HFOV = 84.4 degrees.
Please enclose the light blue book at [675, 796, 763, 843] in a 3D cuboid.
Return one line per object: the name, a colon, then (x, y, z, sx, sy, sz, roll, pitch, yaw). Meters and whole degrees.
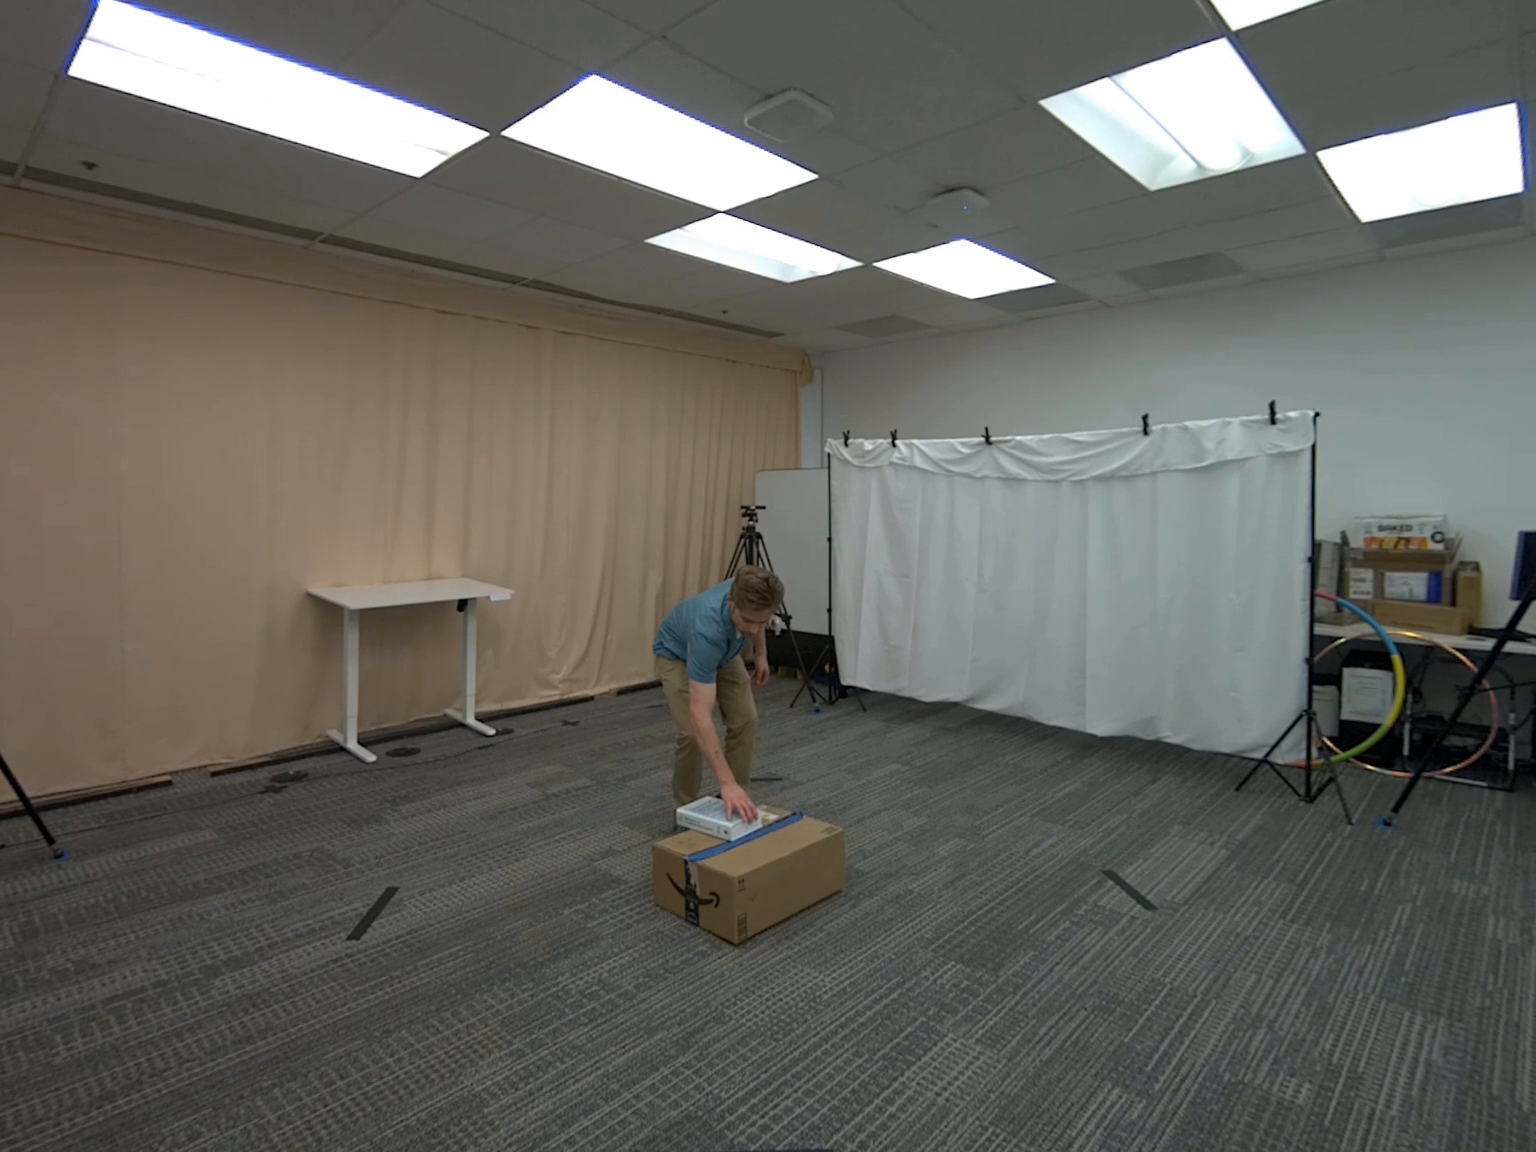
light blue book: (-0.181, 0.890, 3.106, 0.269, 0.059, 0.186, 3, 6, 38)
